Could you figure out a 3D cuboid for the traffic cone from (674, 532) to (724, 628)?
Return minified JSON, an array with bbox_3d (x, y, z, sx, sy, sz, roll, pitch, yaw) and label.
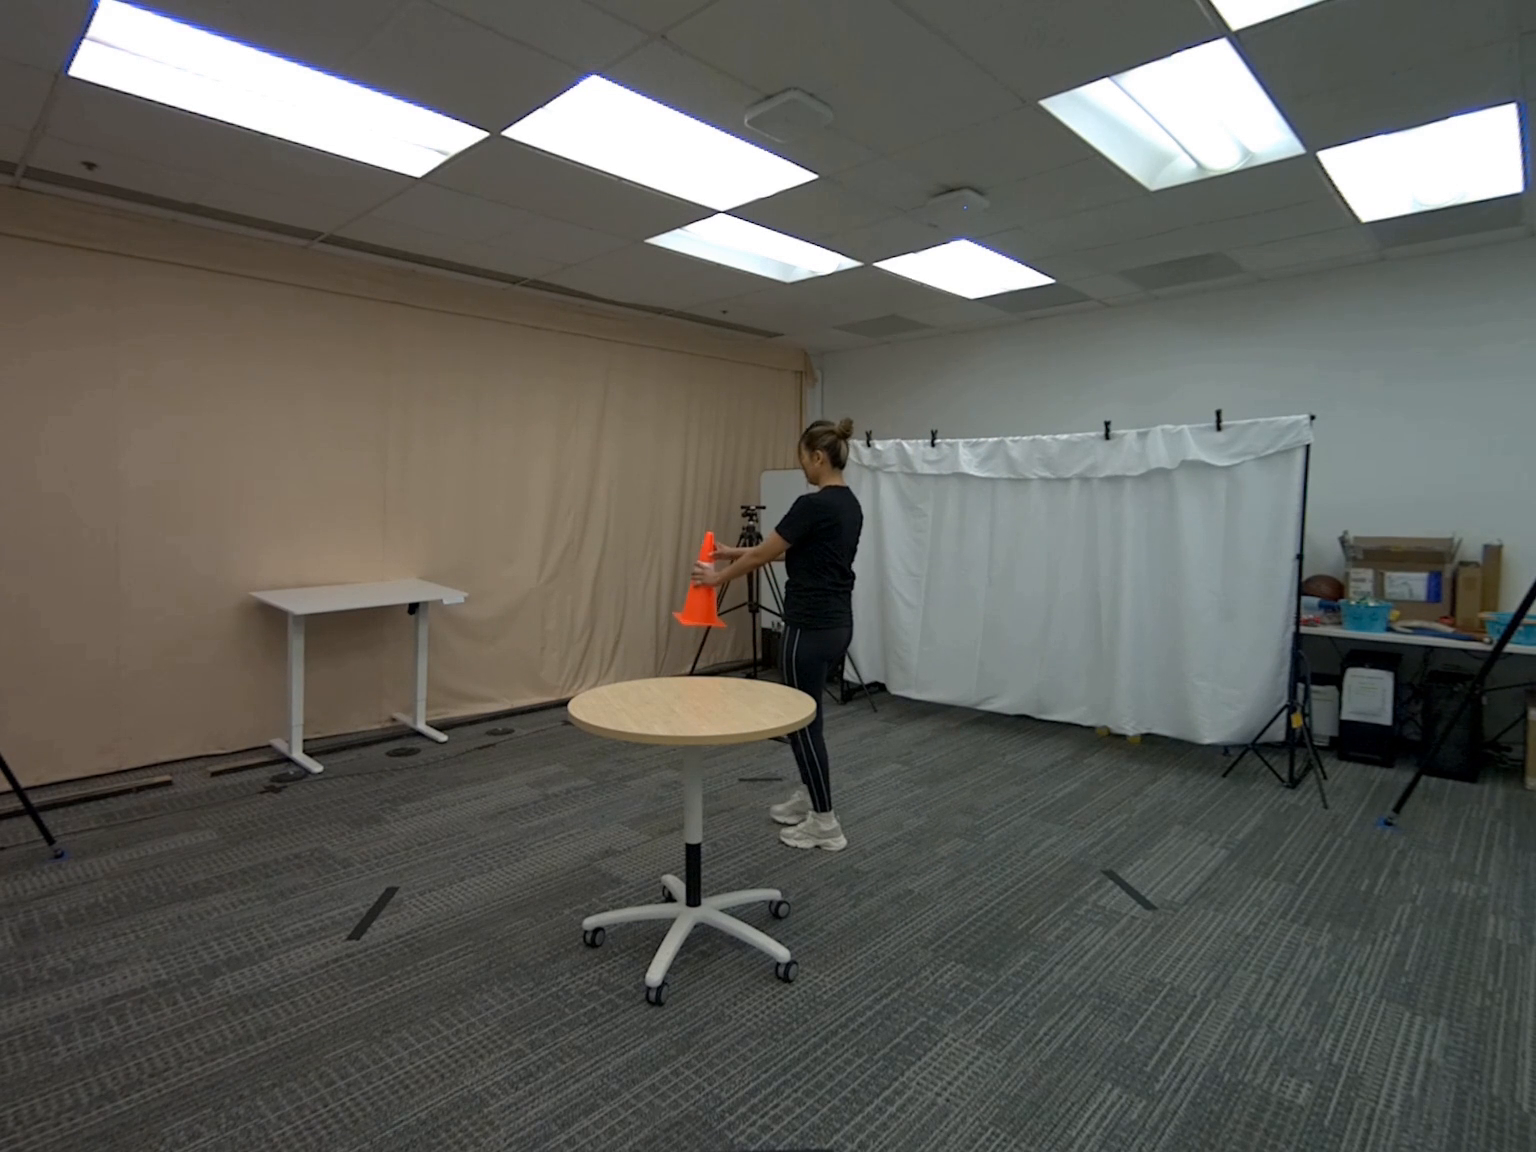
[{"bbox_3d":[-0.278,0.007,3.628,0.209,0.382,0.199,7,6,20],"label":"traffic cone"}]
